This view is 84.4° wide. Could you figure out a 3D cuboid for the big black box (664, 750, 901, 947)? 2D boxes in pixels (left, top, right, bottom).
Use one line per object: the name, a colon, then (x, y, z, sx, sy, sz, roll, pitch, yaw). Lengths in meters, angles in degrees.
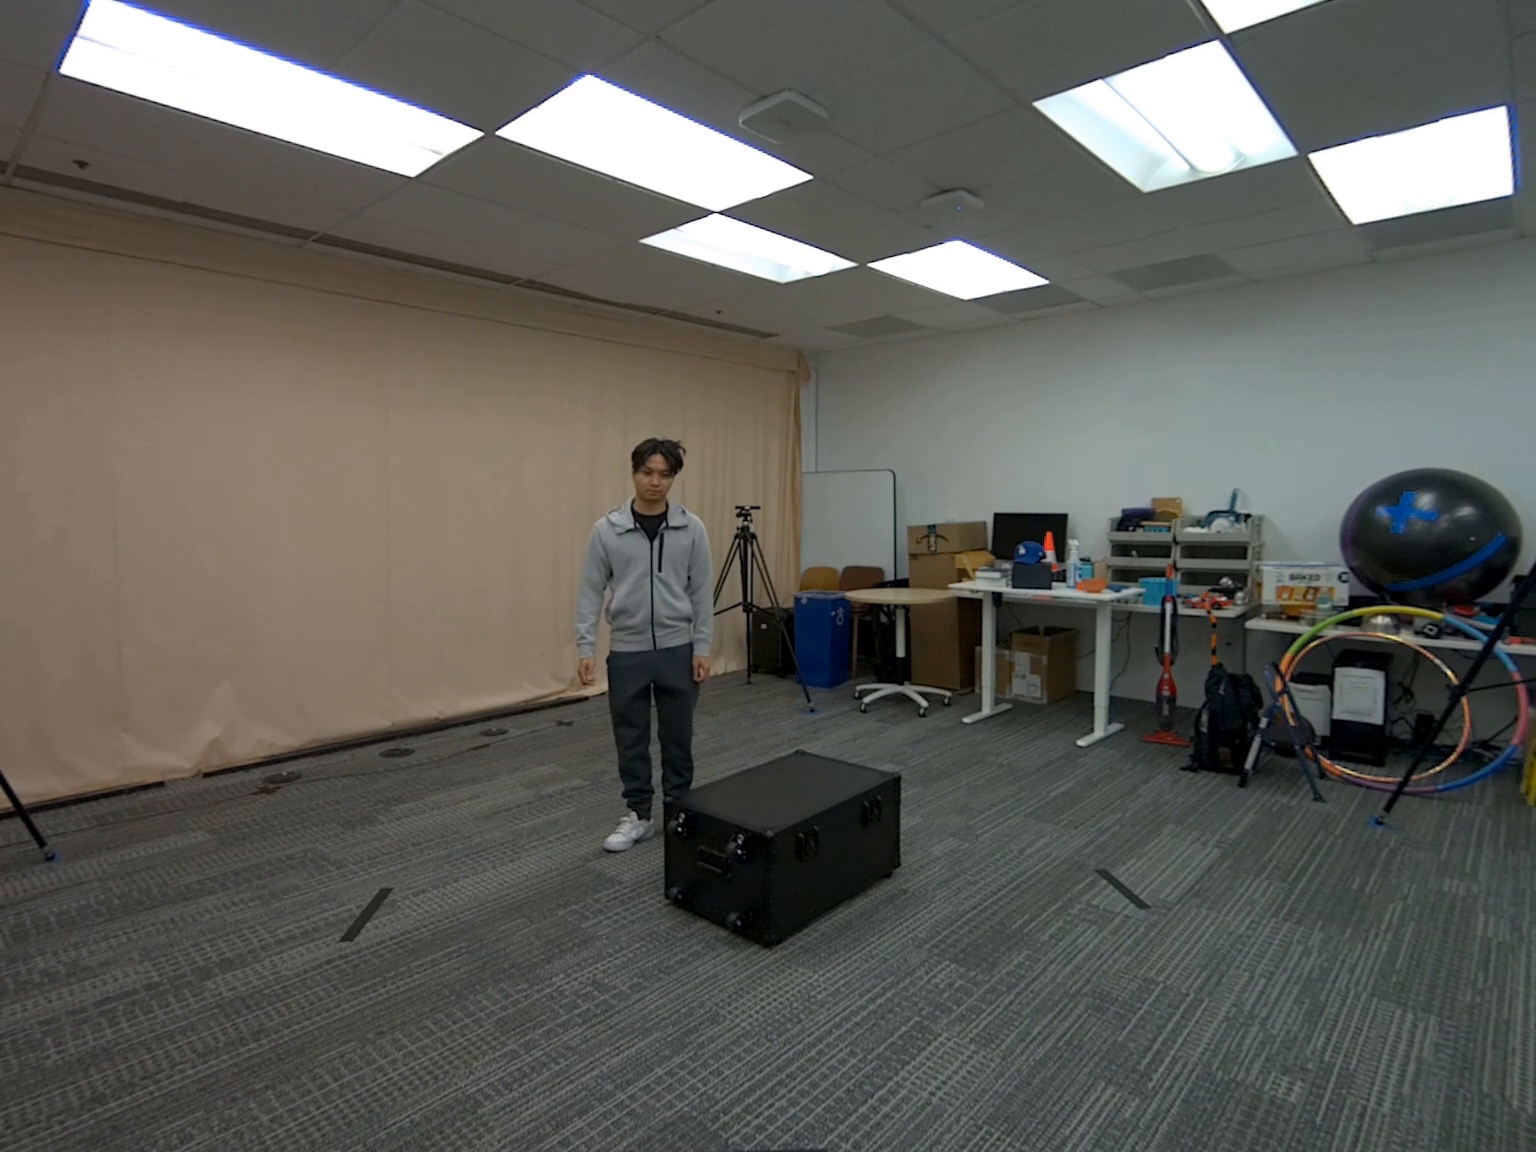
big black box: (0.050, 0.949, 3.035, 0.538, 0.395, 0.835, 3, 5, 41)
